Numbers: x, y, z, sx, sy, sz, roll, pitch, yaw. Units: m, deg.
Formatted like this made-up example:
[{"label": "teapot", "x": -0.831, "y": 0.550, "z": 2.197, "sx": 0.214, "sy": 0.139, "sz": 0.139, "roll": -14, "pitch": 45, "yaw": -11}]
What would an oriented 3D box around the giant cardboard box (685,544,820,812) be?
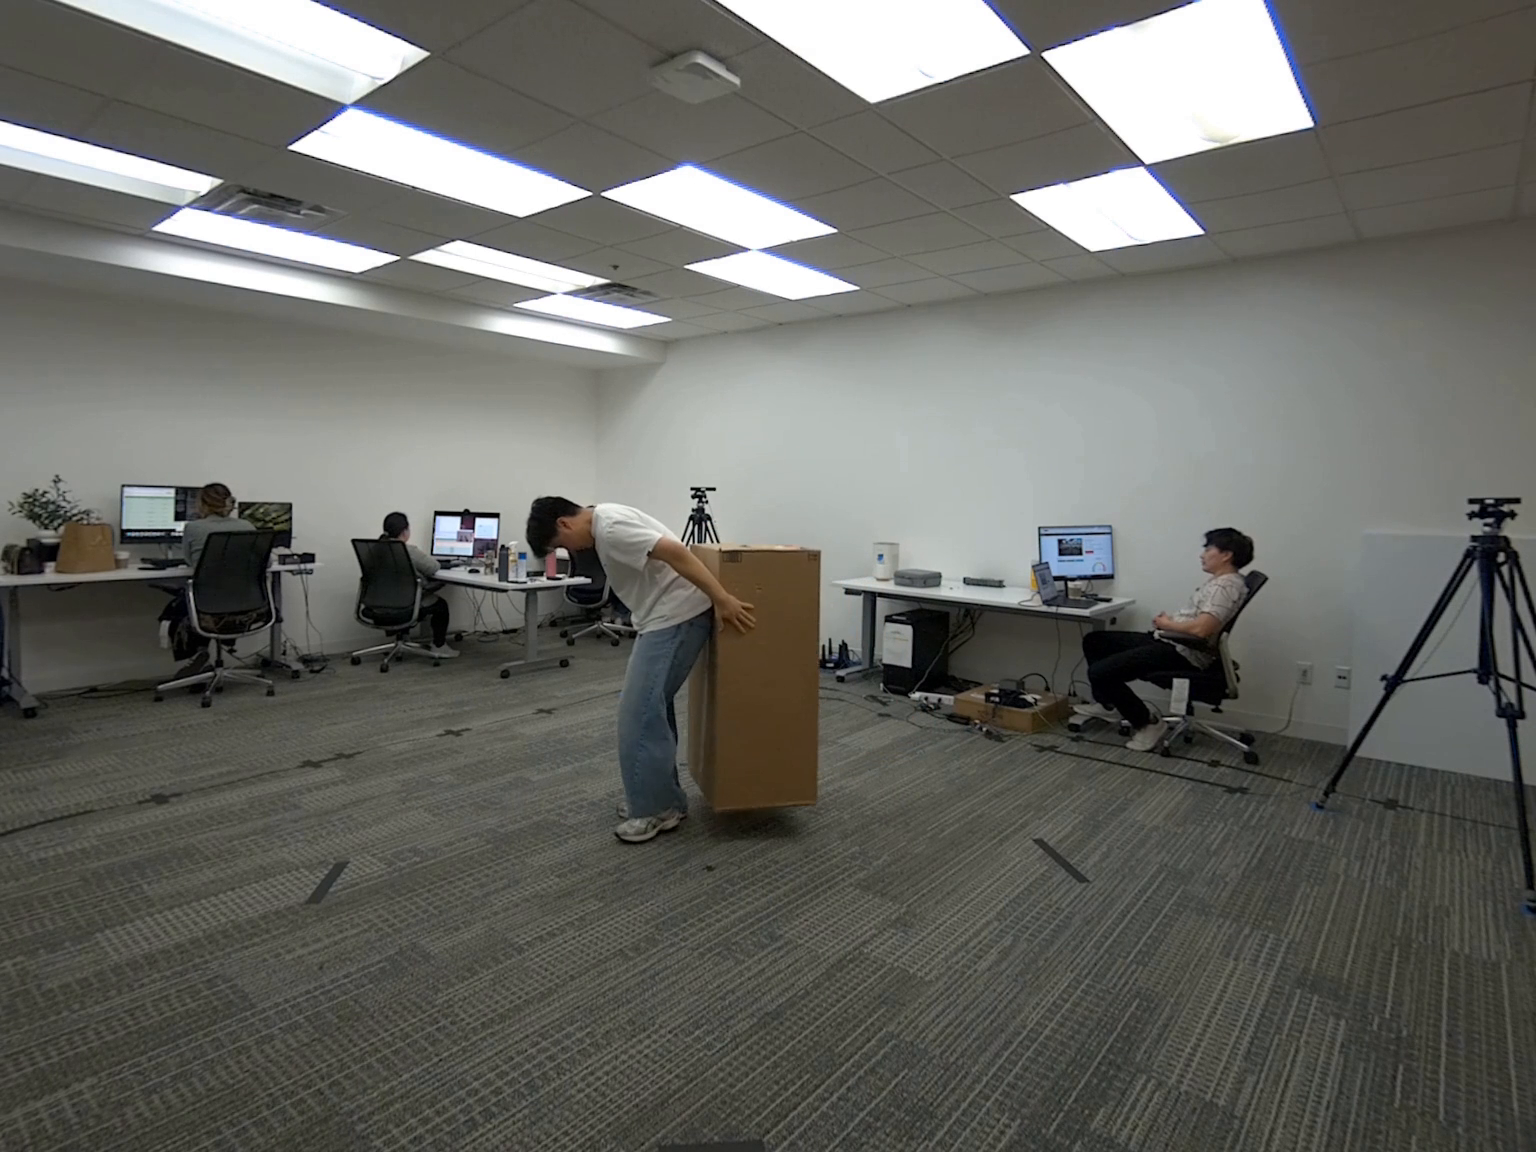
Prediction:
[{"label": "giant cardboard box", "x": -0.074, "y": 0.380, "z": 3.616, "sx": 0.420, "sy": 1.024, "sz": 0.587, "roll": 0, "pitch": 2, "yaw": -15}]
